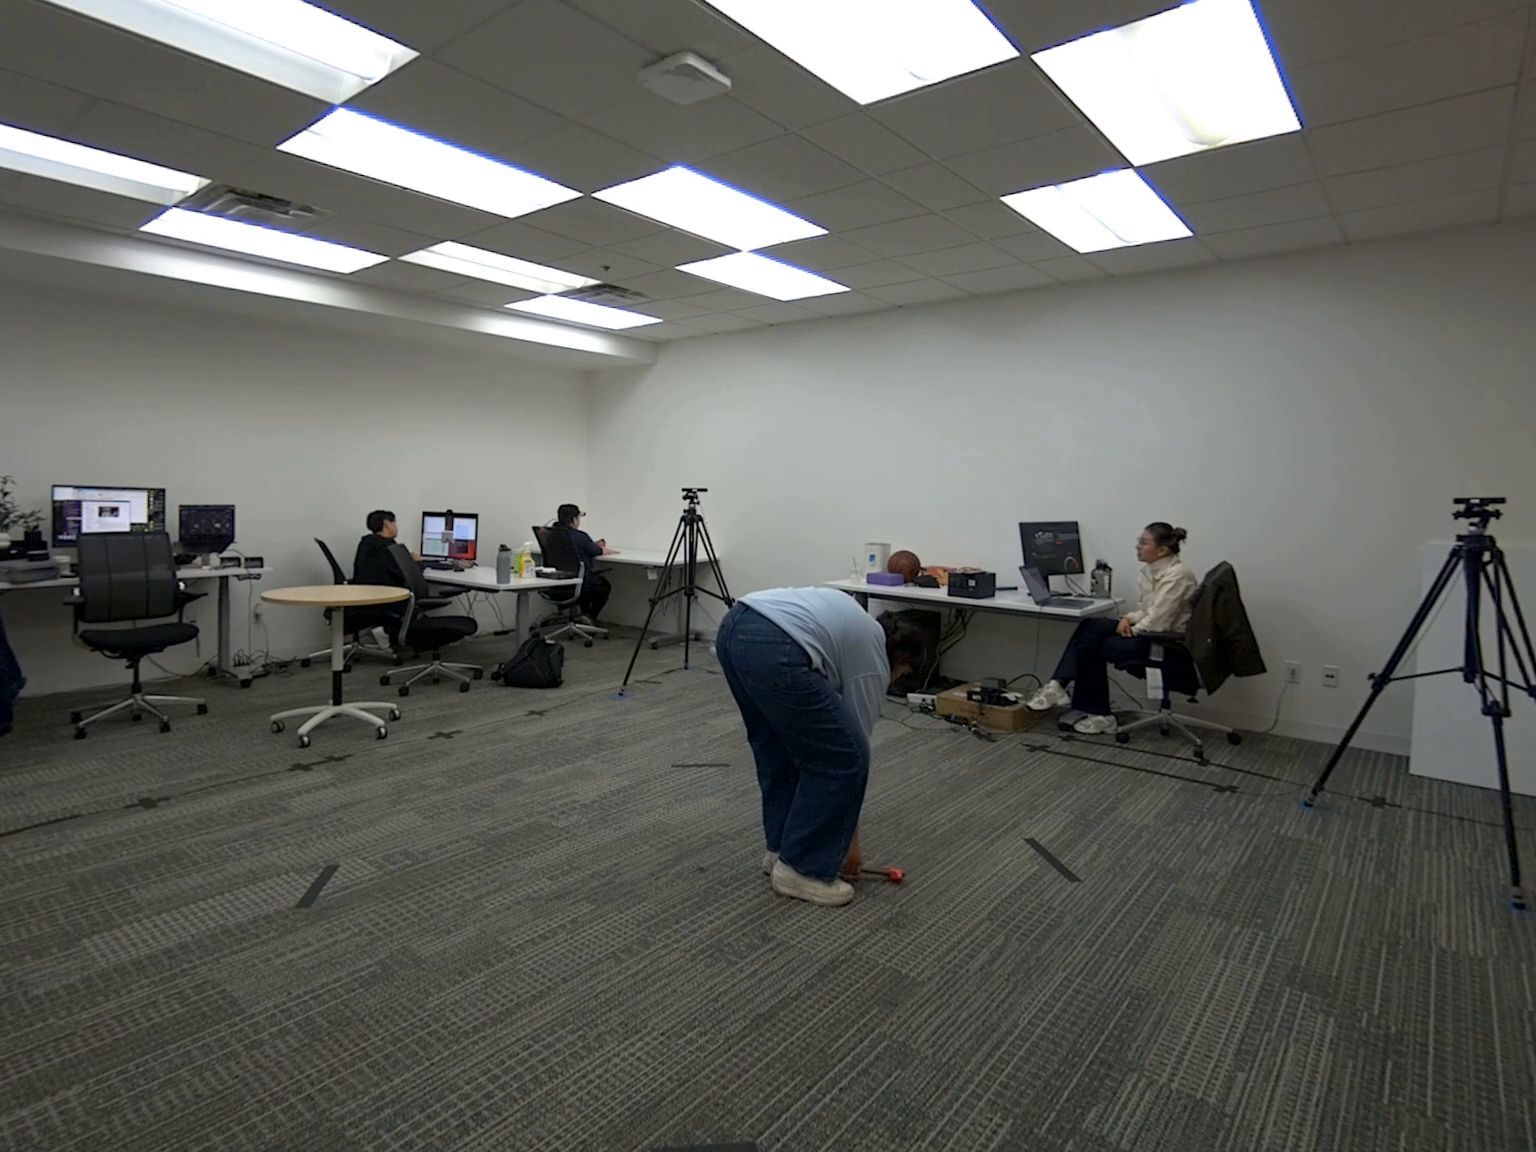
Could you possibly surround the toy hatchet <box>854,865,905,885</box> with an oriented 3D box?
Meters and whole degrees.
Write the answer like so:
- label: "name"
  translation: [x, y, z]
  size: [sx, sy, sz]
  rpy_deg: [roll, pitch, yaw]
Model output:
- label: "toy hatchet"
  translation: [0.351, 1.060, 3.093]
  size: [0.276, 0.030, 0.127]
  rpy_deg: [0, -5, 23]
